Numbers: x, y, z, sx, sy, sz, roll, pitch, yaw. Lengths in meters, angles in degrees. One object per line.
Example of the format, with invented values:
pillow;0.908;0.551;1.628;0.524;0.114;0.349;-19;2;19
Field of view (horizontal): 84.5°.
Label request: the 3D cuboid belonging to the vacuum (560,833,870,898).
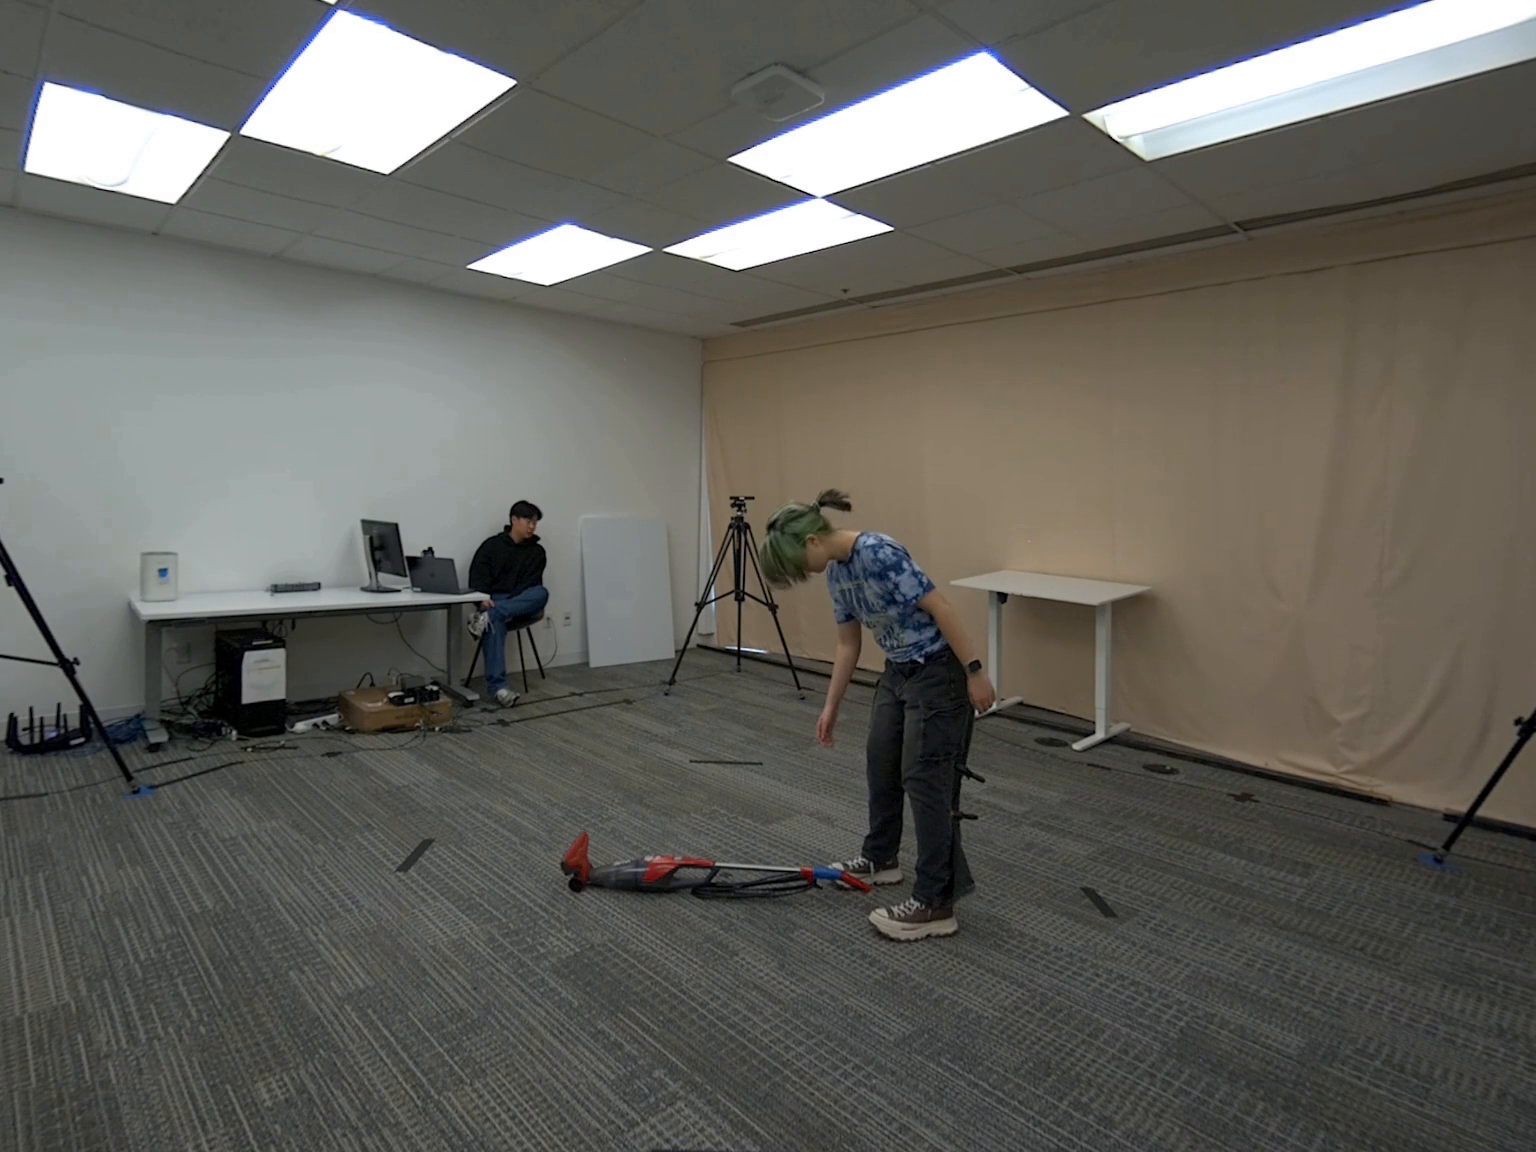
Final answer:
vacuum;-0.176;1.049;2.944;1.055;0.143;0.252;3;4;6
